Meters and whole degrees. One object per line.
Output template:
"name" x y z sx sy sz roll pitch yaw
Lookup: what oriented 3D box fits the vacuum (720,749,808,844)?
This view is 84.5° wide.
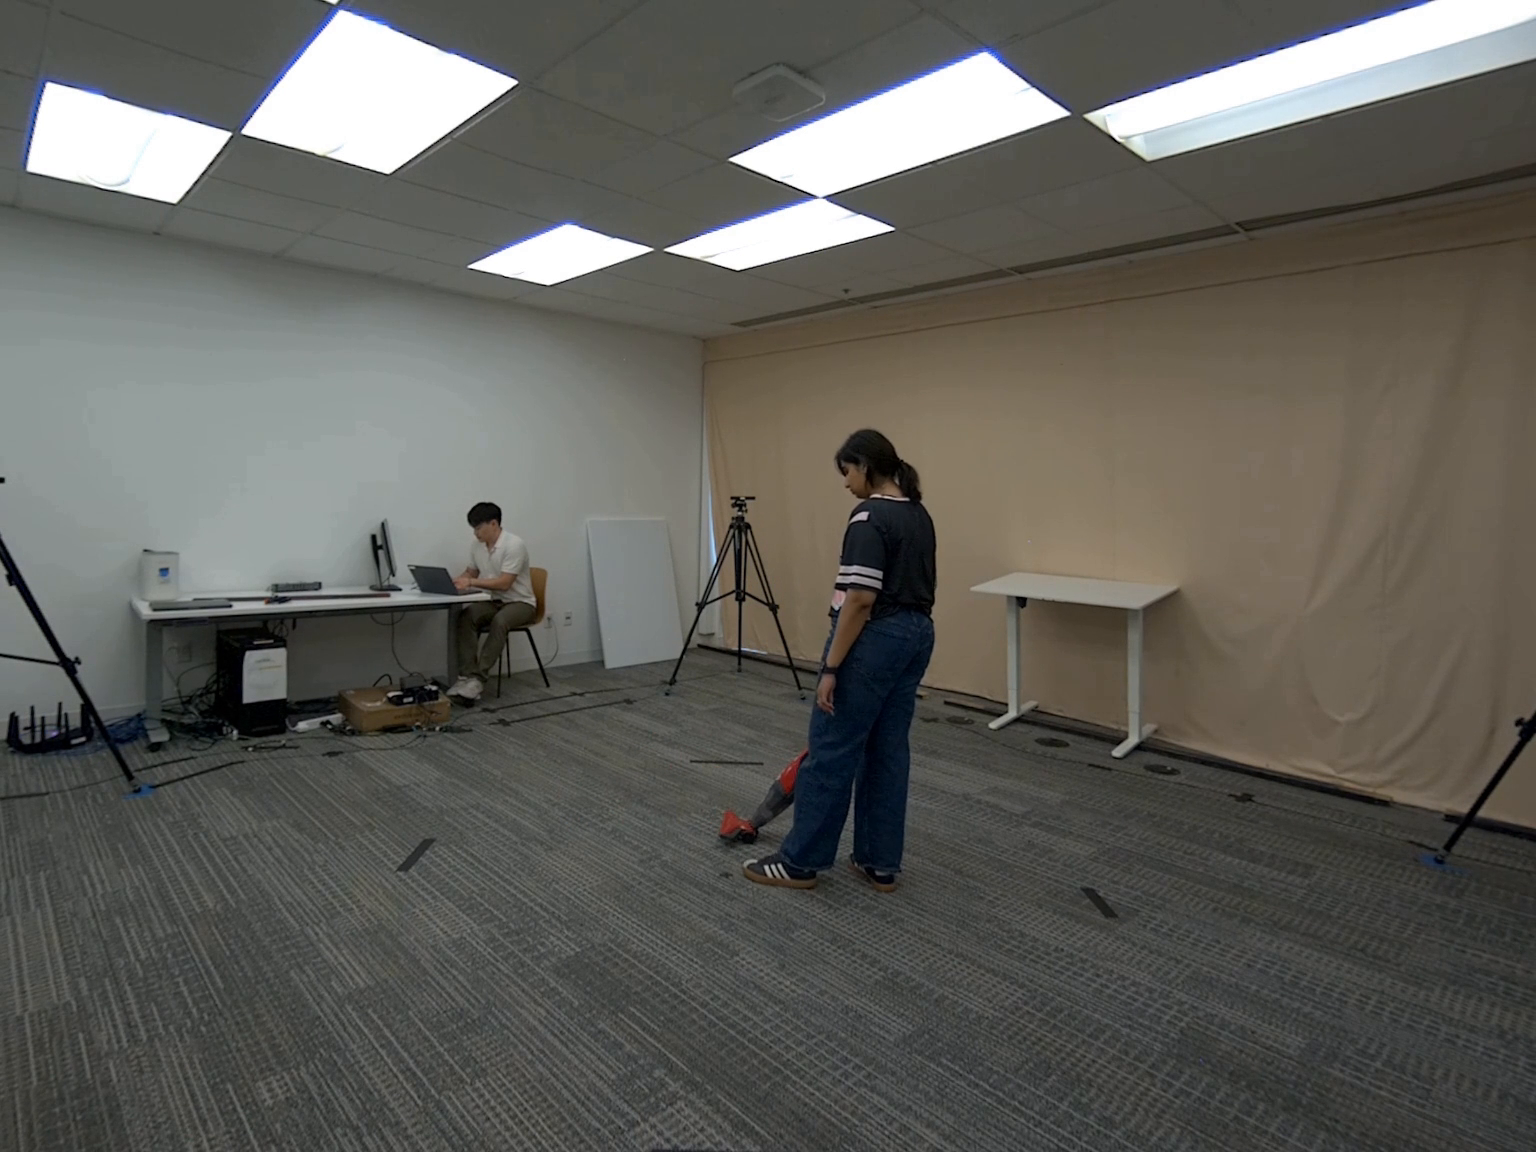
"vacuum" 0.233 0.704 3.413 1.050 0.144 0.252 -42 0 5
